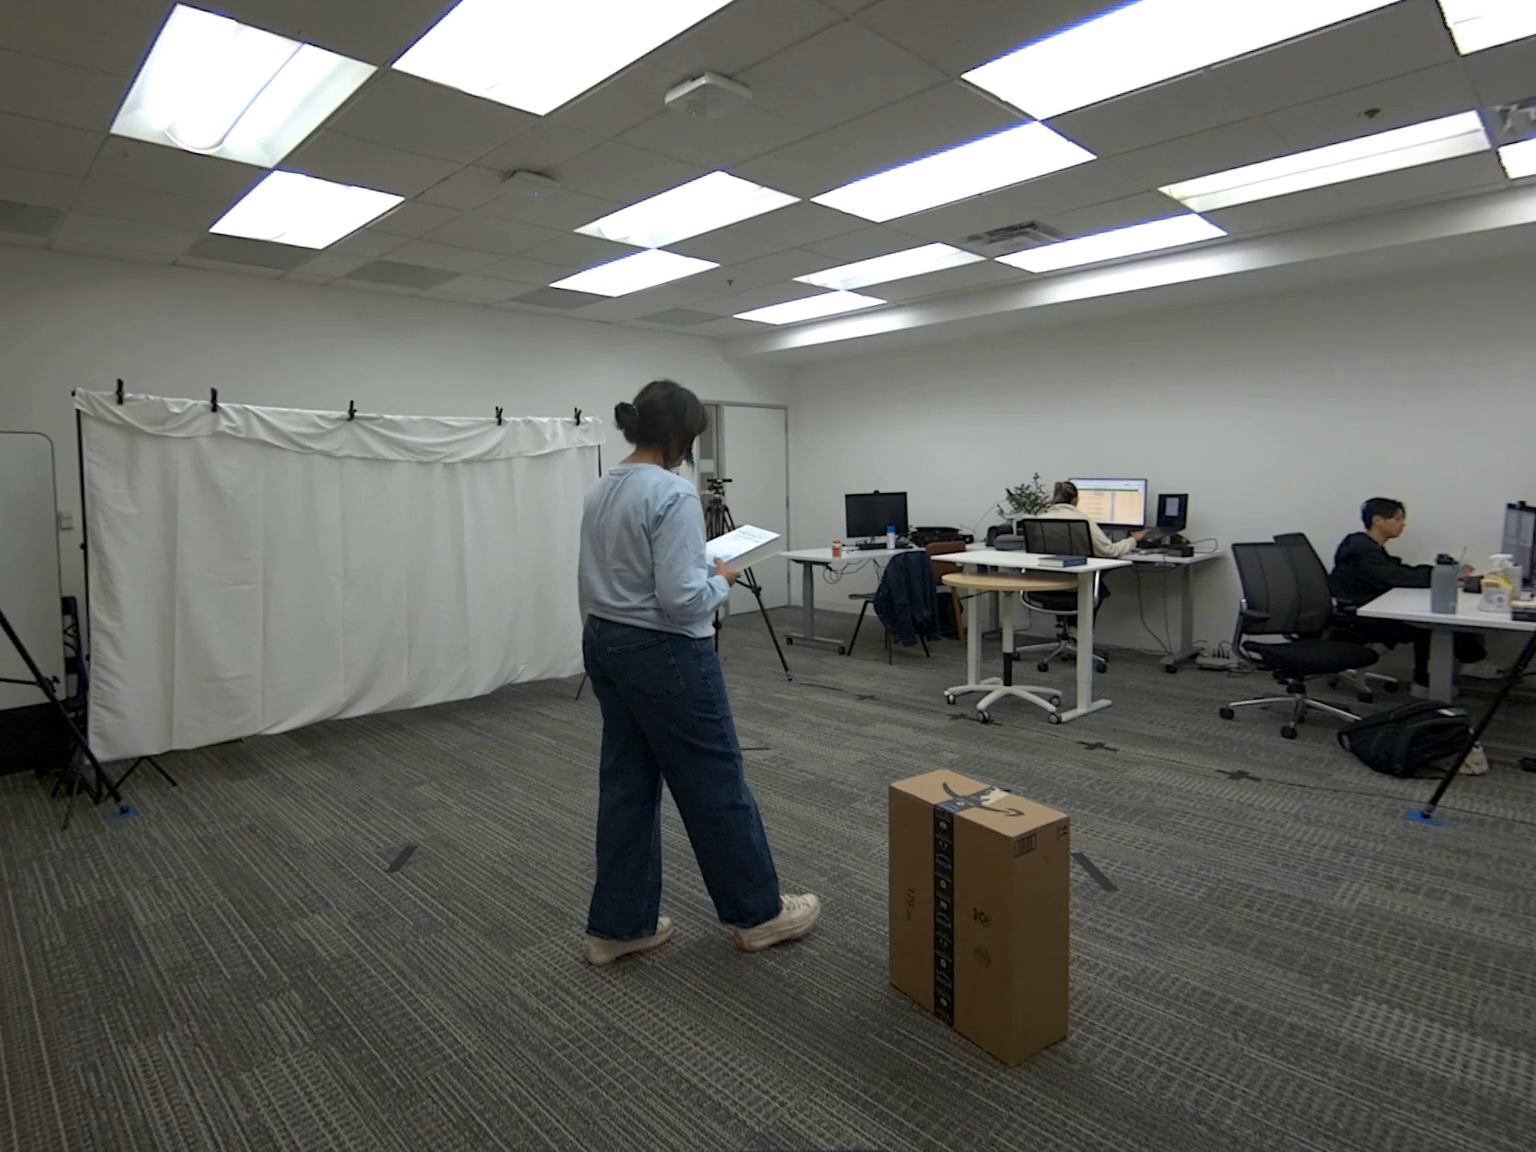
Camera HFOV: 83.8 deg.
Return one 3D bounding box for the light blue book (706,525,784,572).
[{"bbox_3d":[-0.100,-0.075,2.674,0.257,0.058,0.198,-26,28,-32],"label":"light blue book"}]
